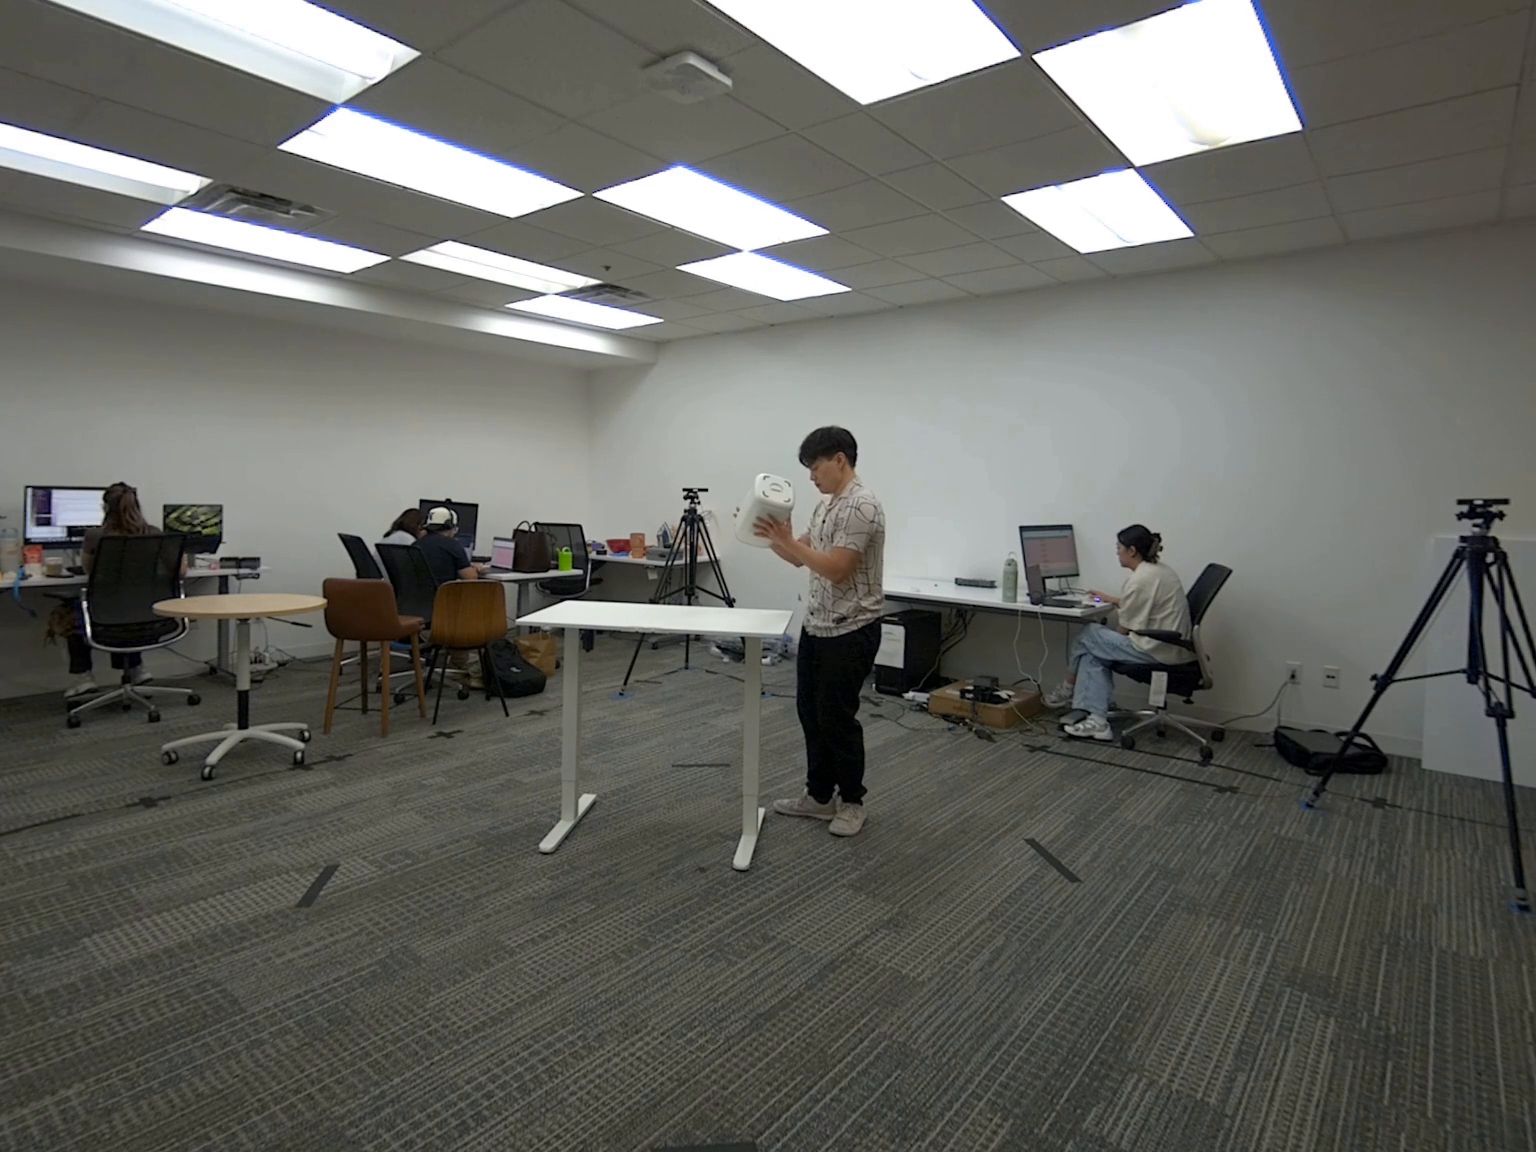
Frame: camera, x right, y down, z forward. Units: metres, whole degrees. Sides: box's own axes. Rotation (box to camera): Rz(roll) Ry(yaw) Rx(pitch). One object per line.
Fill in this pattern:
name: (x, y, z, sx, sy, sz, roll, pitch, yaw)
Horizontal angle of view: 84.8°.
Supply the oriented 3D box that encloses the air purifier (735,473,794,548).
air purifier: (-0.021, -0.274, 3.427, 0.169, 0.176, 0.262, 11, -39, -15)
